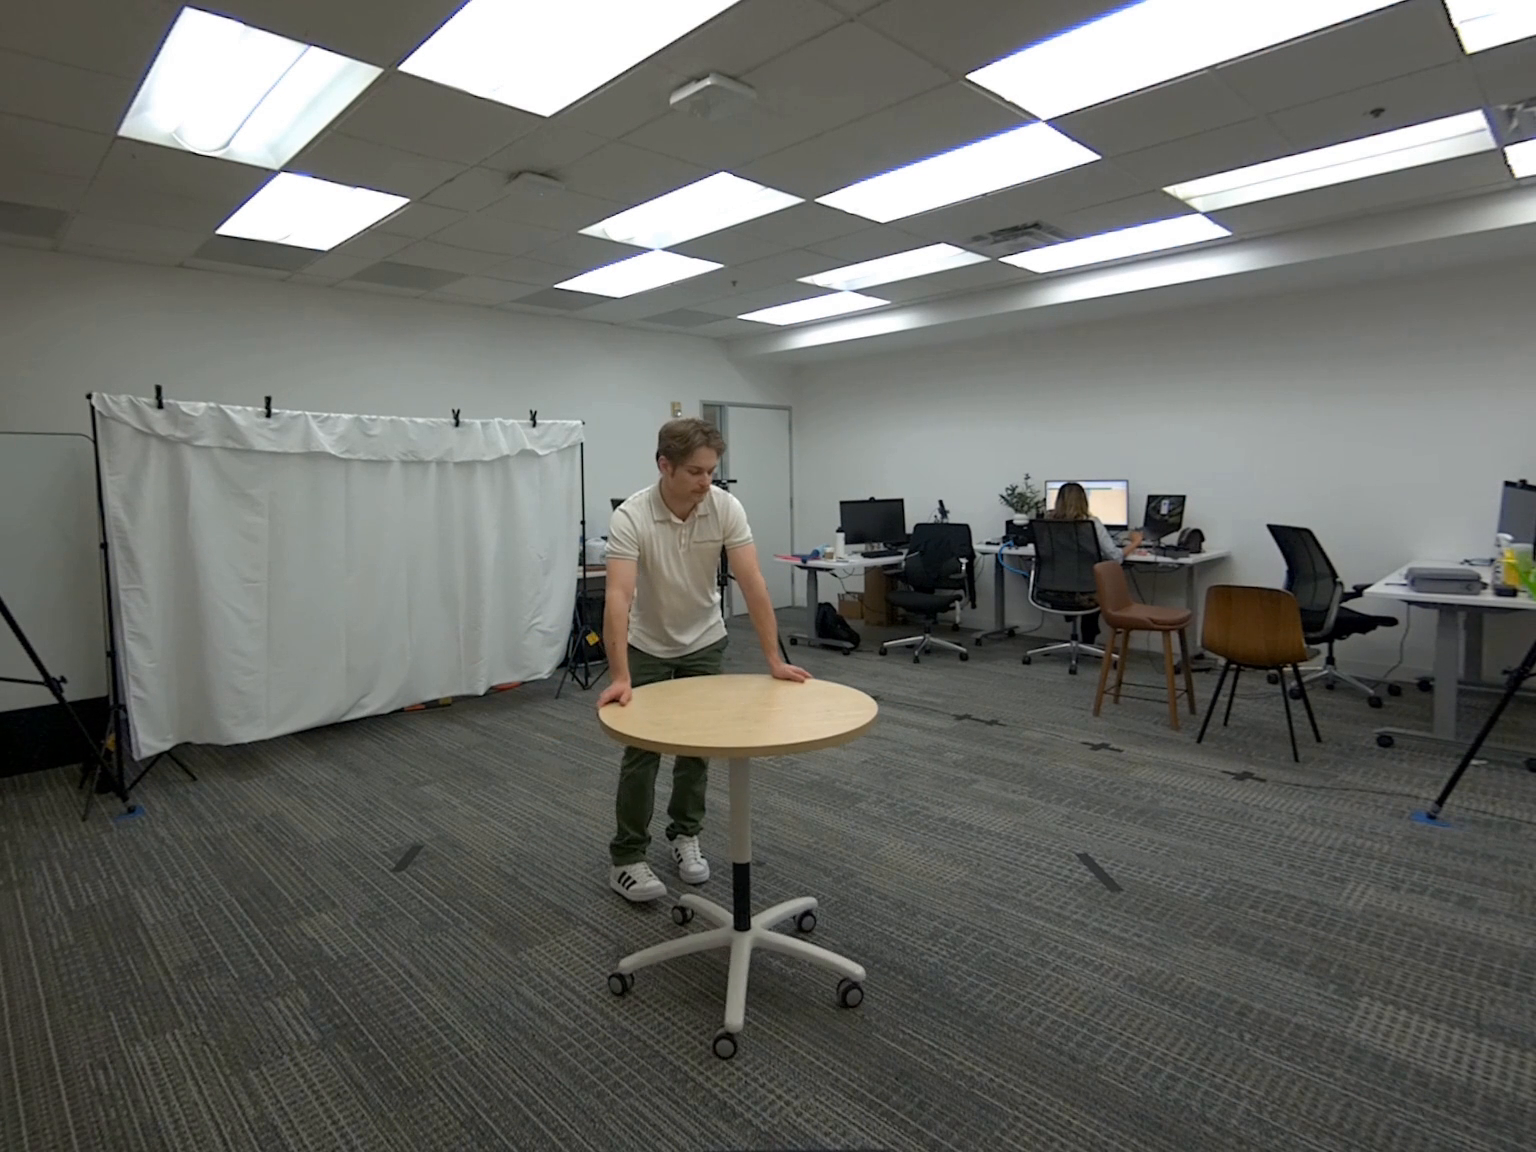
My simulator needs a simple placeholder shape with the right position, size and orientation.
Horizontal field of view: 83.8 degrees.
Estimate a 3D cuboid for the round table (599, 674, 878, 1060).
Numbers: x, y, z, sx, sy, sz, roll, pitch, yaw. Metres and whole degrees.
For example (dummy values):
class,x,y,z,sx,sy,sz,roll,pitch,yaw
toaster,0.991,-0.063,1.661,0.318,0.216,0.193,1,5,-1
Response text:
class,x,y,z,sx,sy,sz,roll,pitch,yaw
round table,-0.071,0.746,2.389,0.763,0.791,0.768,-1,4,-2
